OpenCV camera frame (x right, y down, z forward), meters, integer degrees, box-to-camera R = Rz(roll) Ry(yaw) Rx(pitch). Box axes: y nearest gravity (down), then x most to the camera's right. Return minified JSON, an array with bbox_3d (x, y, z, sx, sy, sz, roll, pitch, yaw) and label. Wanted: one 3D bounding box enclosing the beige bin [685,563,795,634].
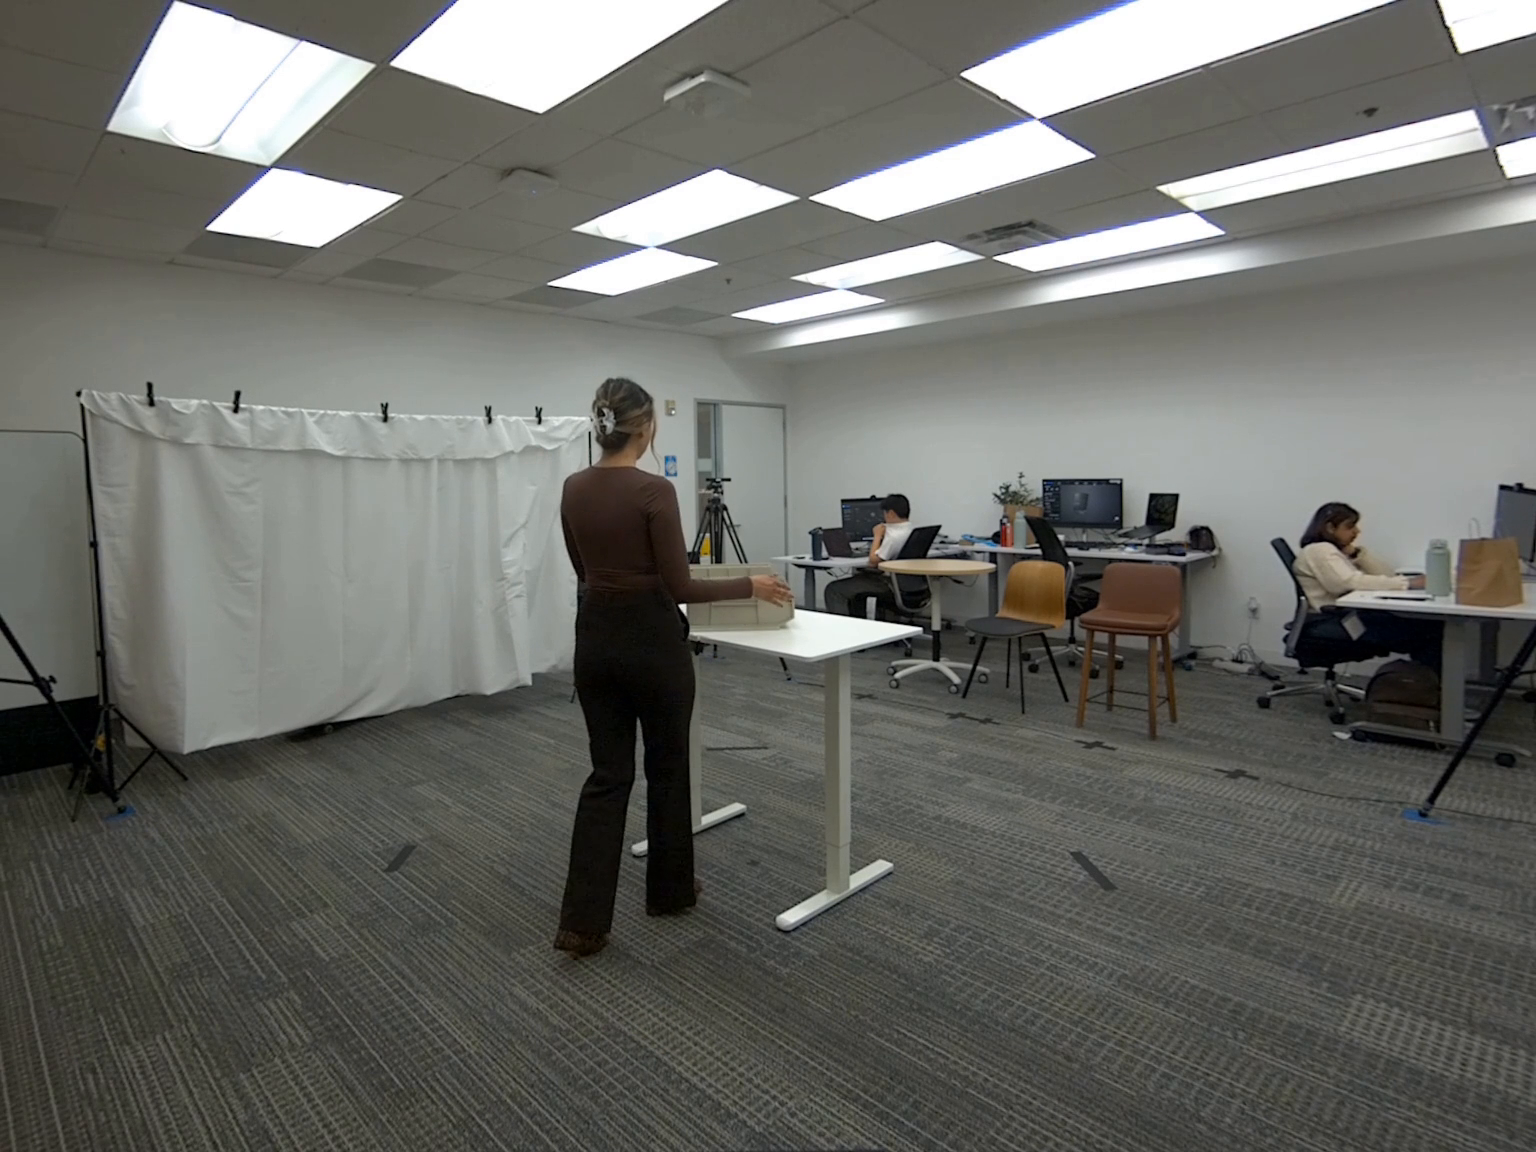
[{"bbox_3d":[-0.110,0.073,3.089,0.376,0.188,0.426,-3,7,-4],"label":"beige bin"}]
